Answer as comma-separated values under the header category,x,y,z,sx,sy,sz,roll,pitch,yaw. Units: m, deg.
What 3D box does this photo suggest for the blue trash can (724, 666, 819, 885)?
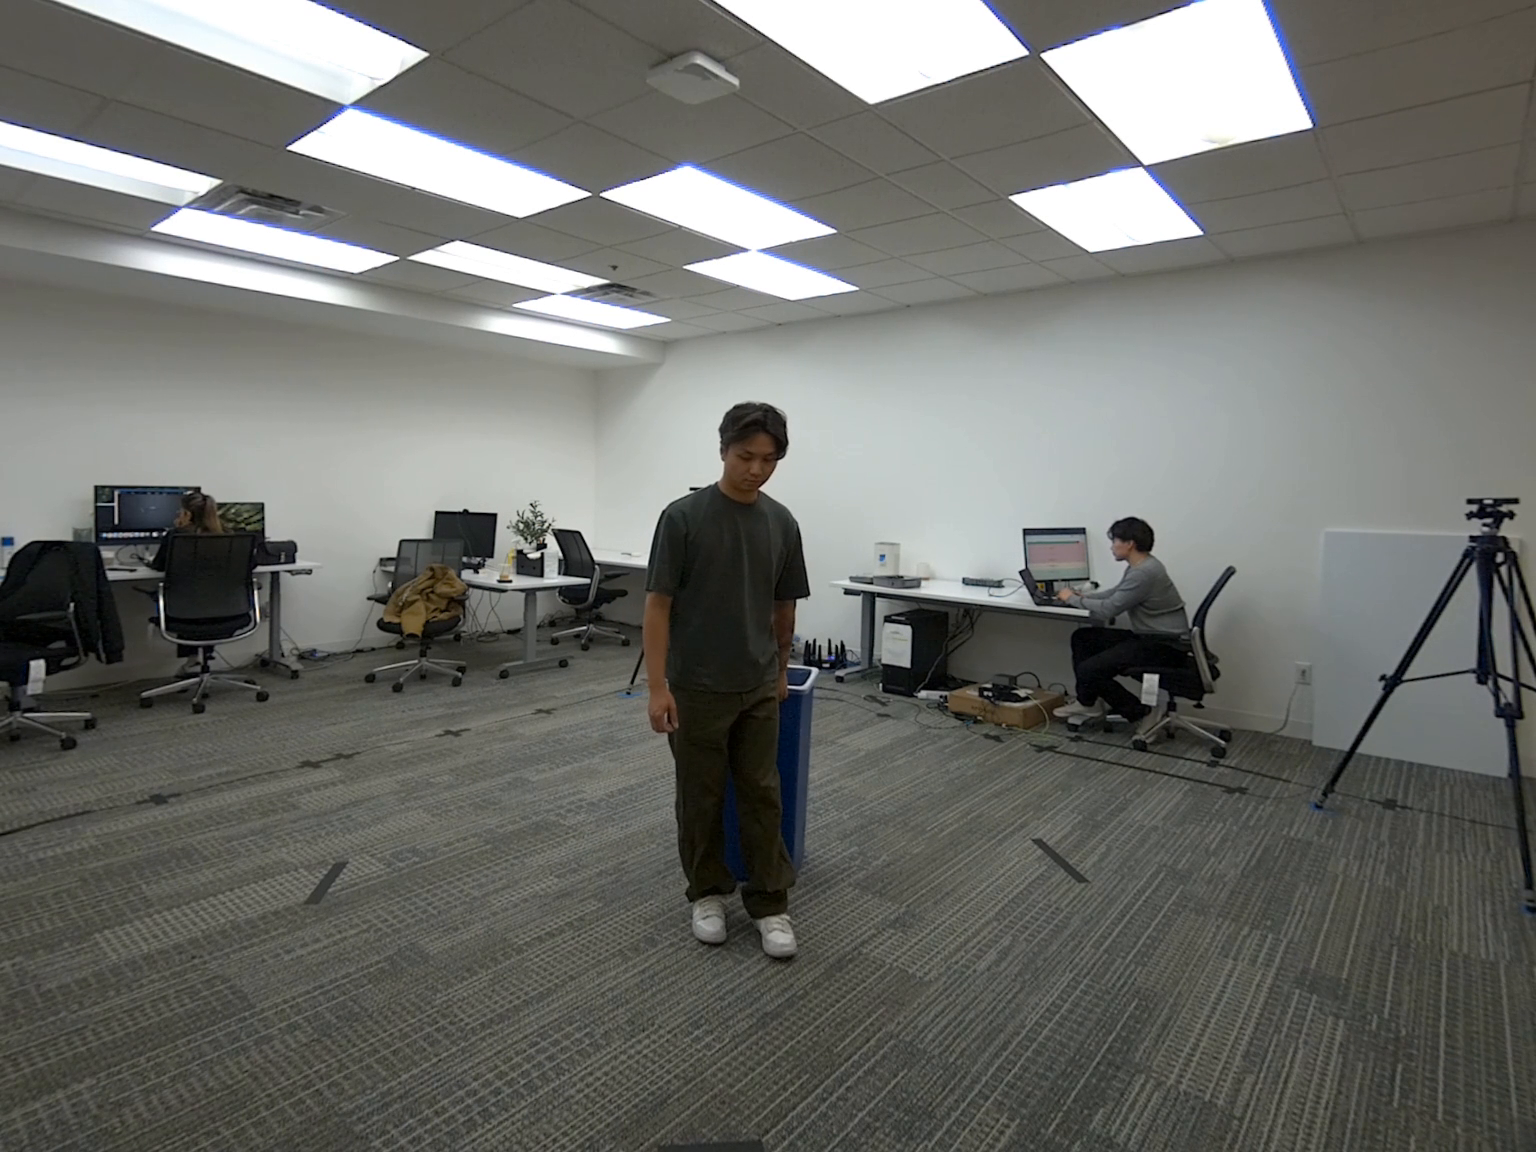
category,x,y,z,sx,sy,sz,roll,pitch,yaw
blue trash can,-0.025,0.705,3.133,0.379,0.711,0.374,1,4,12
